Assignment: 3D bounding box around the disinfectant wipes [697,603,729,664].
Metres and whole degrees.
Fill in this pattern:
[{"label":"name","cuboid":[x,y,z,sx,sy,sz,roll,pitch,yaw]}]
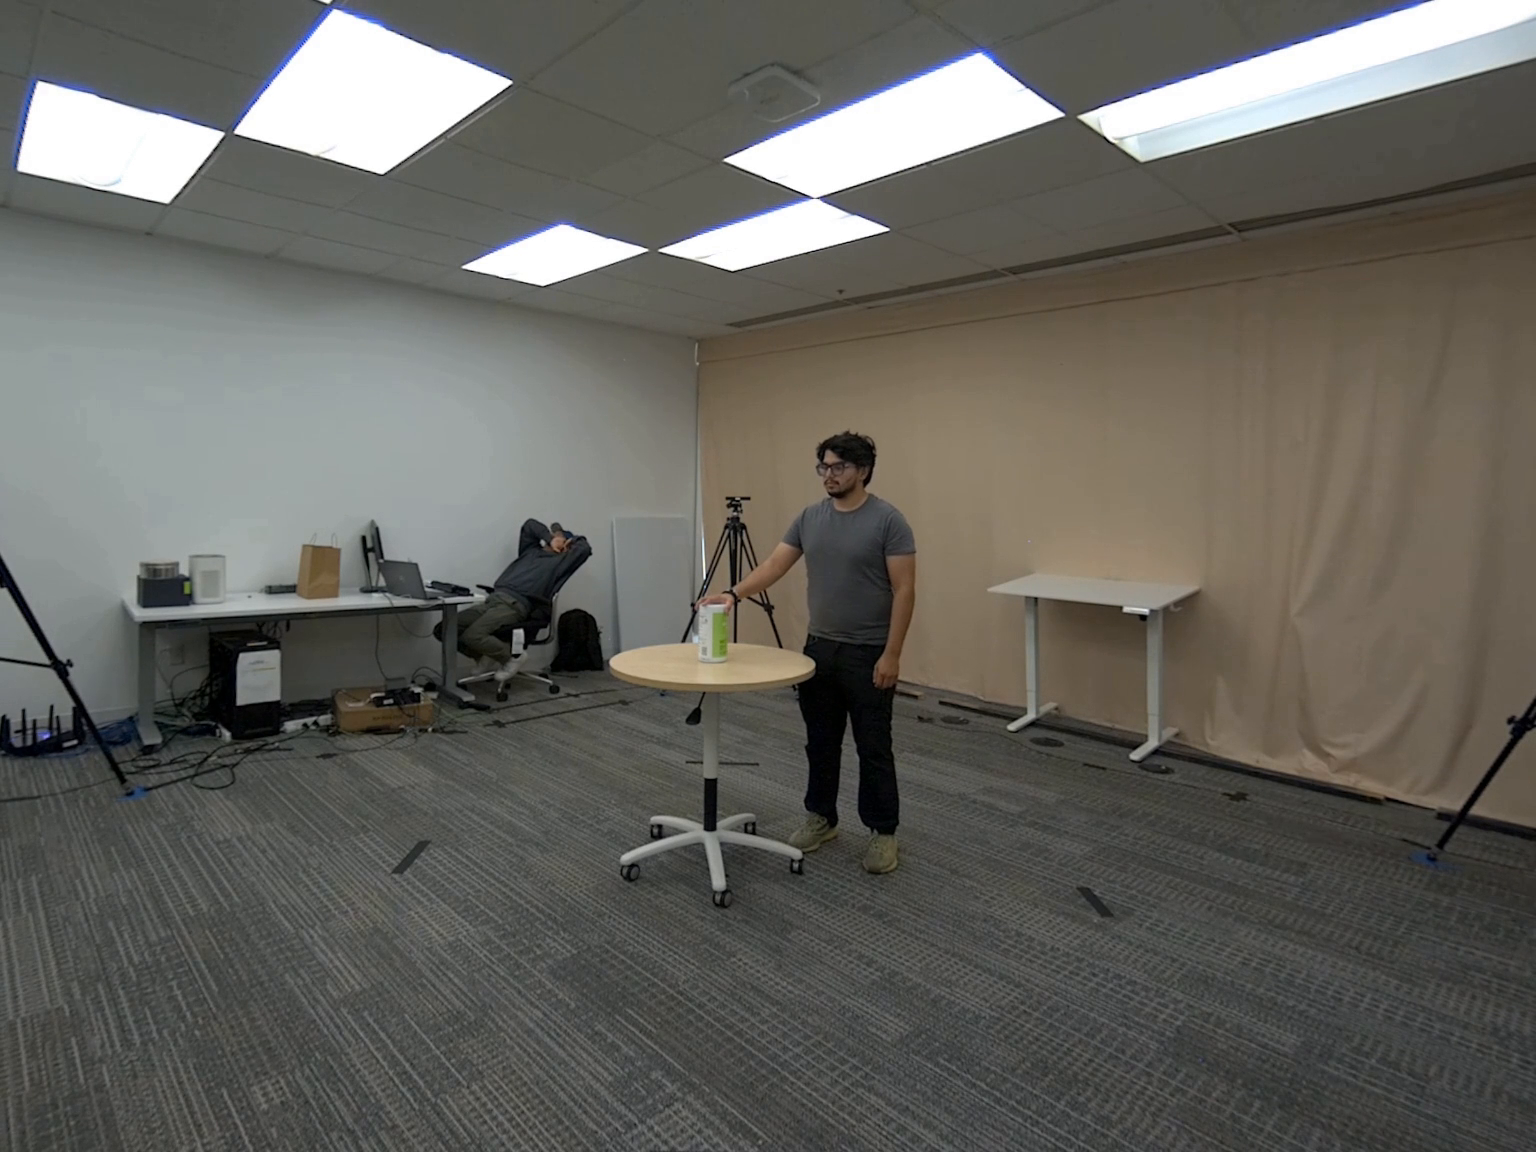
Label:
[{"label":"disinfectant wipes","cuboid":[-0.210,0.213,3.143,0.118,0.217,0.118,0,3,-1]}]
